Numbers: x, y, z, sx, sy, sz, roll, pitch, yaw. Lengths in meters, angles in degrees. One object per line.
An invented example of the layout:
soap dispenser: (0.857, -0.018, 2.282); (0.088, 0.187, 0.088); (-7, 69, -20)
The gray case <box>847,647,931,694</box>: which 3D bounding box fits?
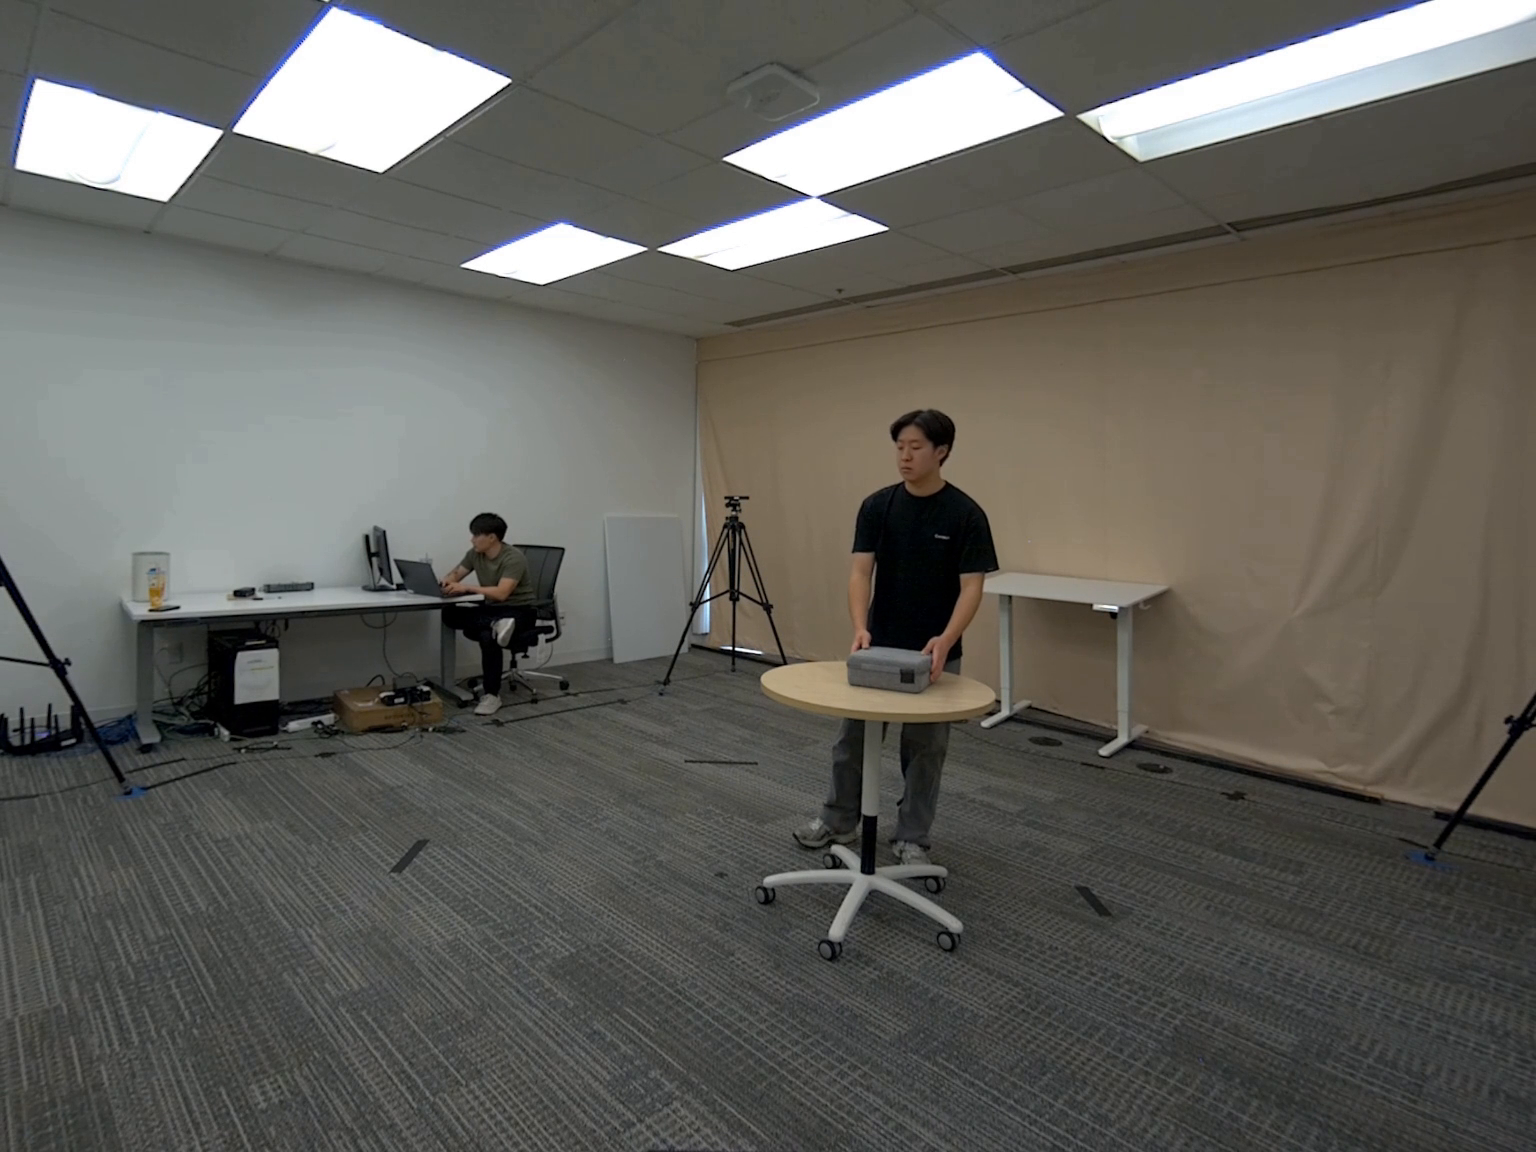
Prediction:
gray case: (0.409, 0.313, 2.822); (0.268, 0.103, 0.282); (5, 4, 24)
